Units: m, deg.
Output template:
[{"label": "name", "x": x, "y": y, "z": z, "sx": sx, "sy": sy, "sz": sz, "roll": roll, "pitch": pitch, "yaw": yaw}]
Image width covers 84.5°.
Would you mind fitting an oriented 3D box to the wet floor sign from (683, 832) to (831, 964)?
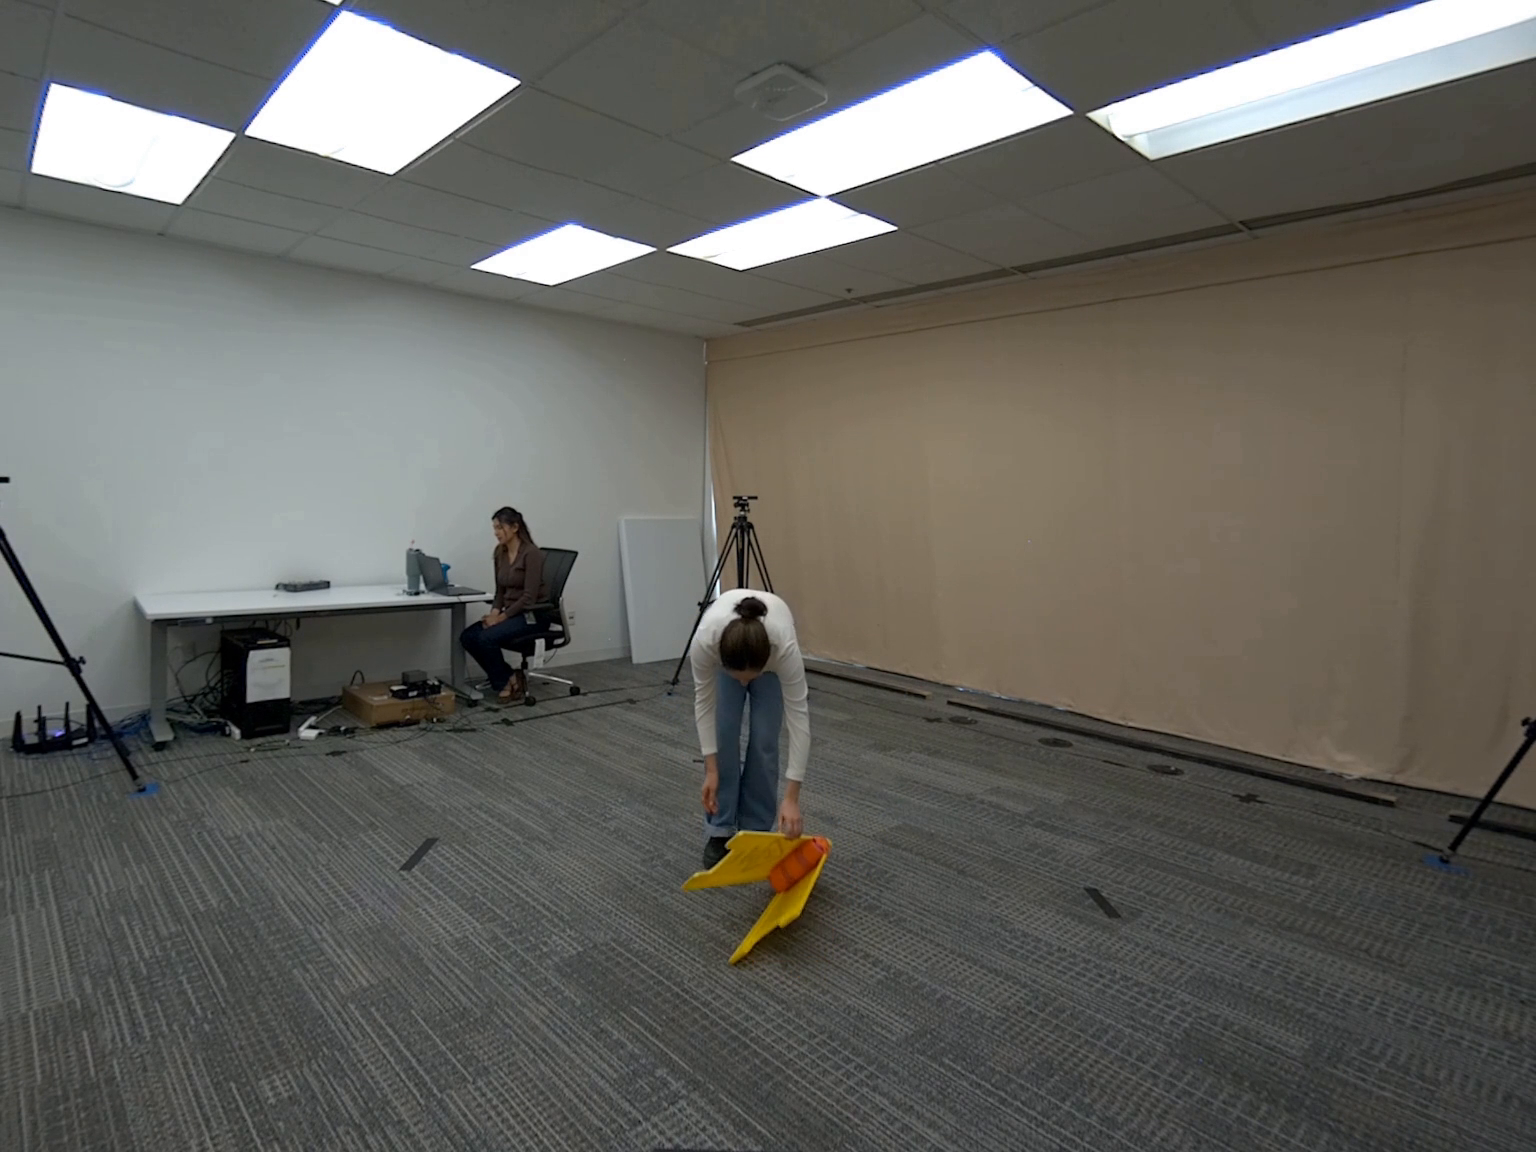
[{"label": "wet floor sign", "x": 0.029, "y": 1.000, "z": 2.798, "sx": 0.296, "sy": 0.282, "sz": 0.632, "roll": 51, "pitch": 14, "yaw": 20}]
